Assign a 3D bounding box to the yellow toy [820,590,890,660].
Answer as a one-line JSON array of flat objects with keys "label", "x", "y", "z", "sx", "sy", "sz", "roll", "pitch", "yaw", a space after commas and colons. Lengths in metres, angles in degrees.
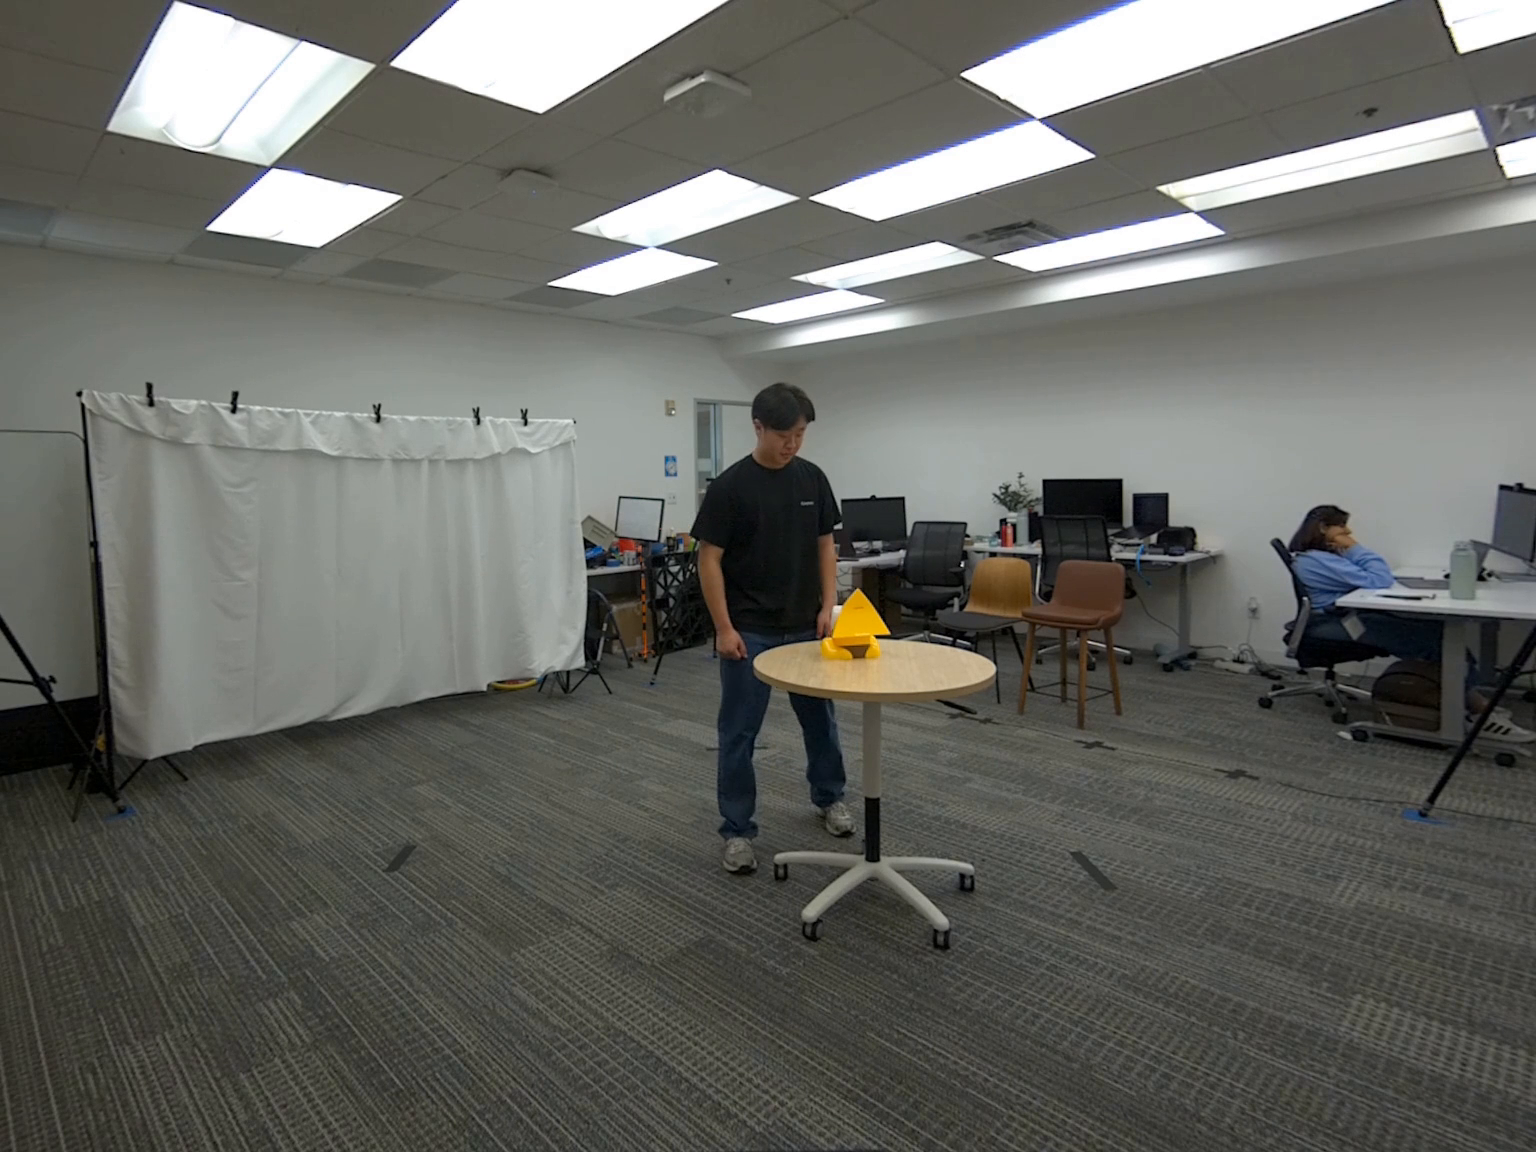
[{"label": "yellow toy", "x": 0.286, "y": 0.153, "z": 2.874, "sx": 0.202, "sy": 0.230, "sz": 0.196, "roll": -2, "pitch": 4, "yaw": -16}]
